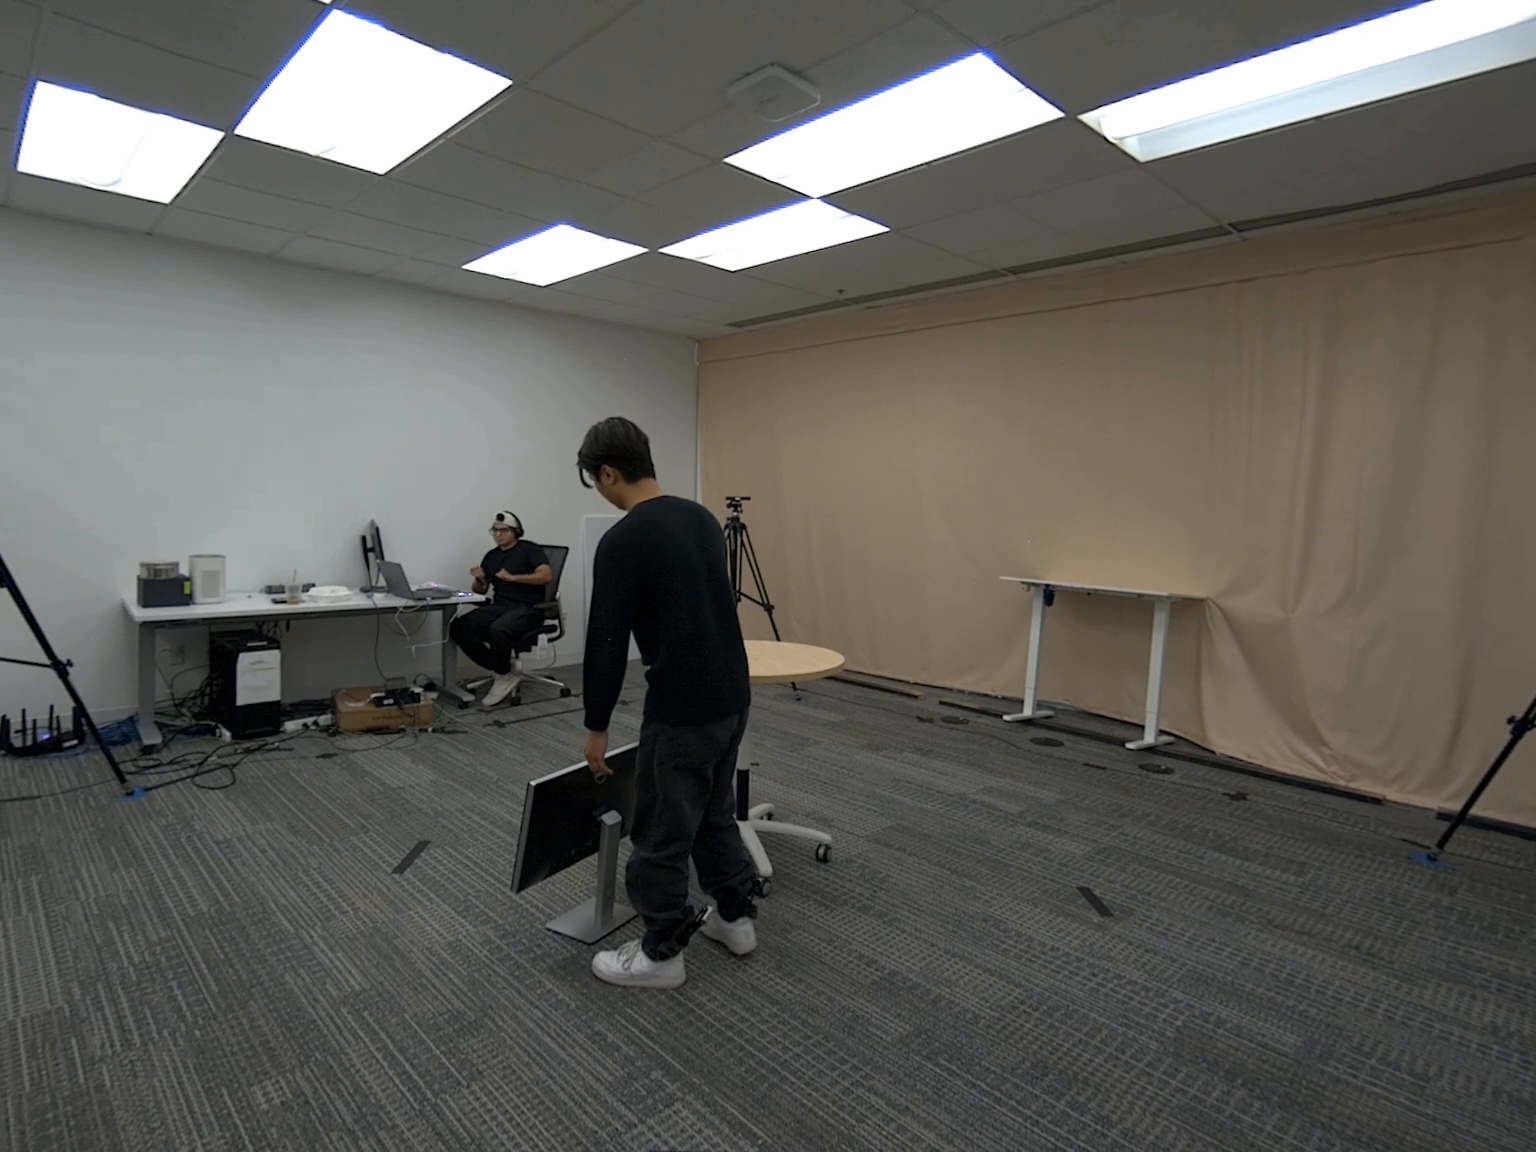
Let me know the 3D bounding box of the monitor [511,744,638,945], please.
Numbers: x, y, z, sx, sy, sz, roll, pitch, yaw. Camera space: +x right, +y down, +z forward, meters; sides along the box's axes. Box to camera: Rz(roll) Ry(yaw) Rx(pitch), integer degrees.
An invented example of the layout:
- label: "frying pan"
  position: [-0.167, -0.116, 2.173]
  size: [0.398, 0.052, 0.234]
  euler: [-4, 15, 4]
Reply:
- label: "monitor"
  position: [-0.571, 0.866, 2.729]
  size: [0.191, 0.521, 0.529]
  euler: [2, 4, 30]
